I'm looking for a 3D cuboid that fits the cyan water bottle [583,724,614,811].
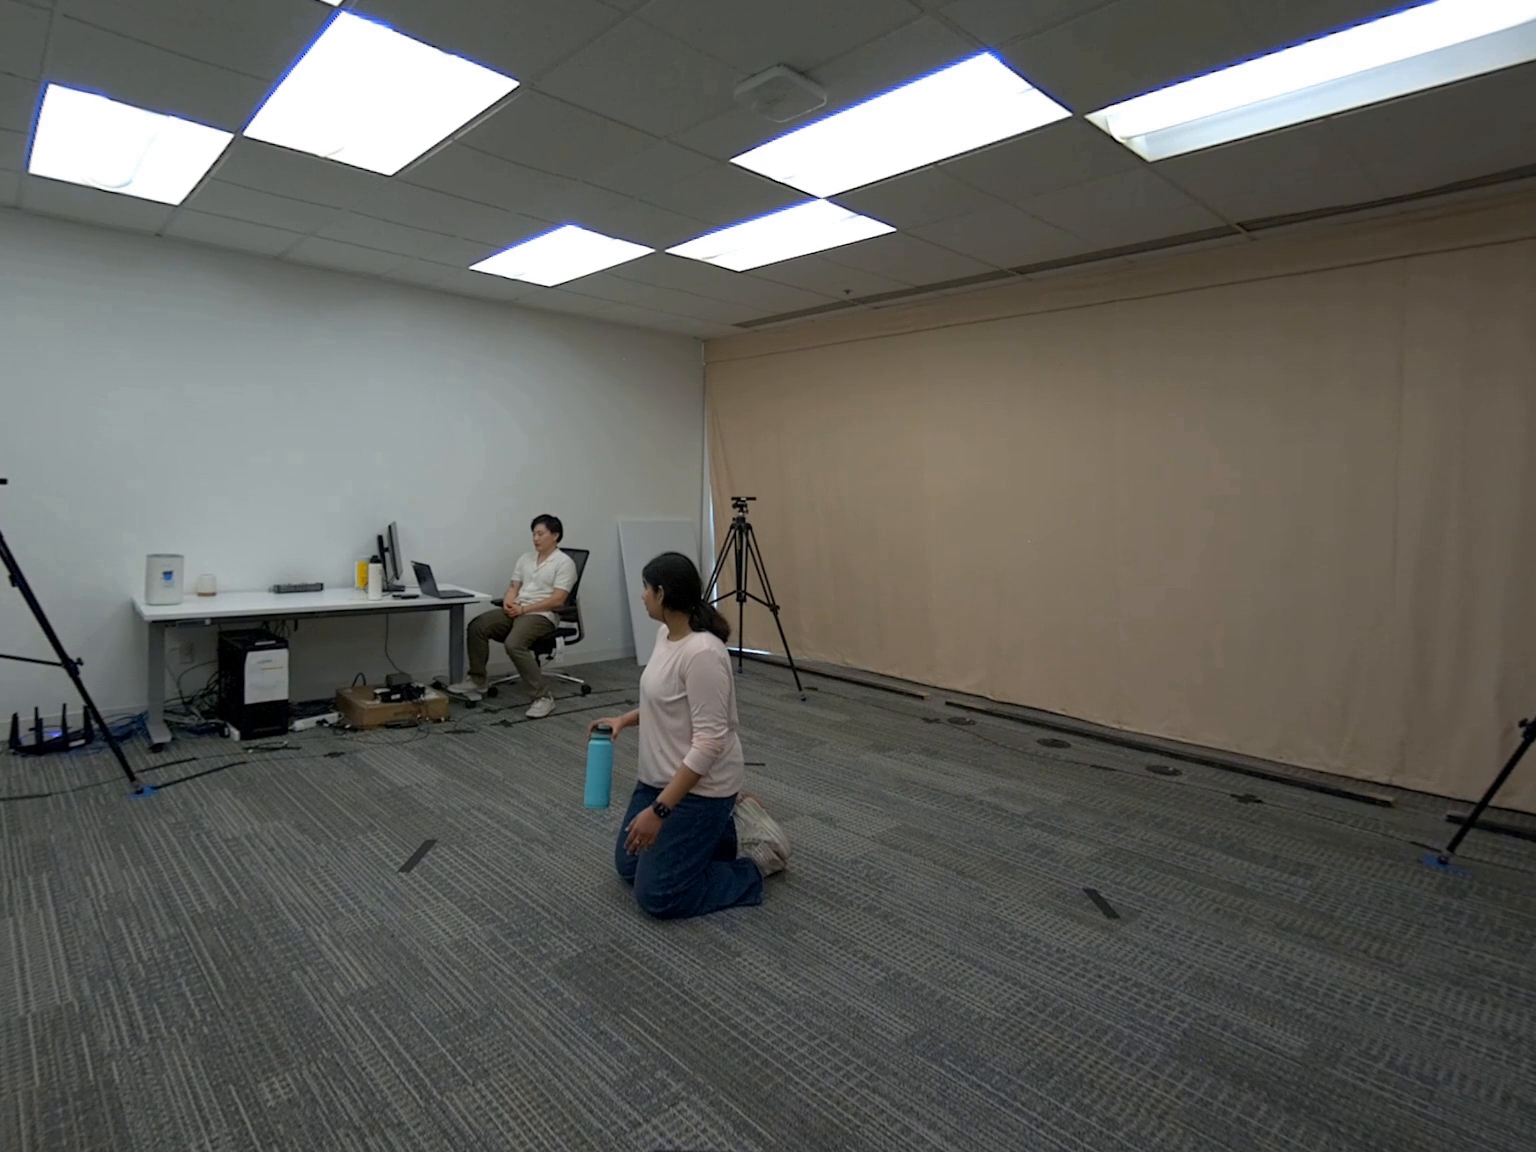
[{"bbox_3d":[-0.593,0.662,2.944,0.092,0.285,0.092,1,-10,-1],"label":"cyan water bottle"}]
